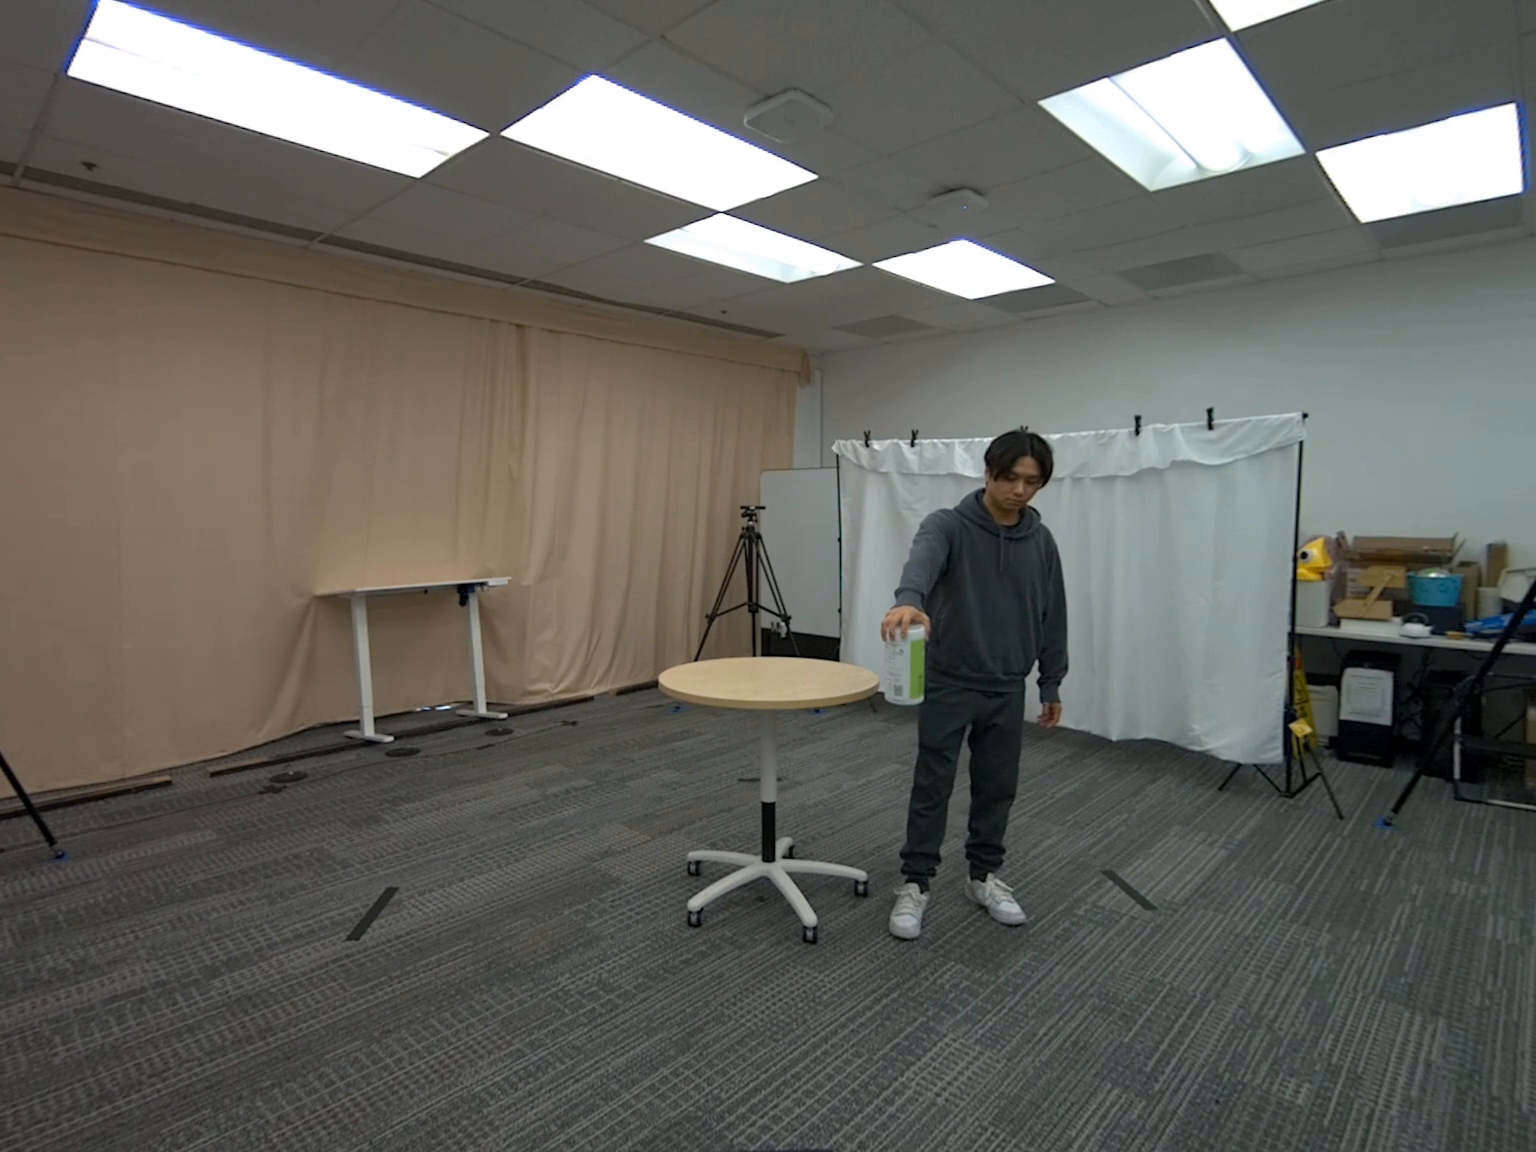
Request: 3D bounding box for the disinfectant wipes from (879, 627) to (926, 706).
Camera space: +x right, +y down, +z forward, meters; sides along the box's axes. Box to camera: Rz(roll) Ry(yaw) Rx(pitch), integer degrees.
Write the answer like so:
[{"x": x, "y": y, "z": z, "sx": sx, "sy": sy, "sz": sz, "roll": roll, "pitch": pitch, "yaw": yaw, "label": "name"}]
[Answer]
[{"x": 0.385, "y": 0.248, "z": 2.339, "sx": 0.118, "sy": 0.216, "sz": 0.118, "roll": -2, "pitch": 9, "yaw": -2, "label": "disinfectant wipes"}]
